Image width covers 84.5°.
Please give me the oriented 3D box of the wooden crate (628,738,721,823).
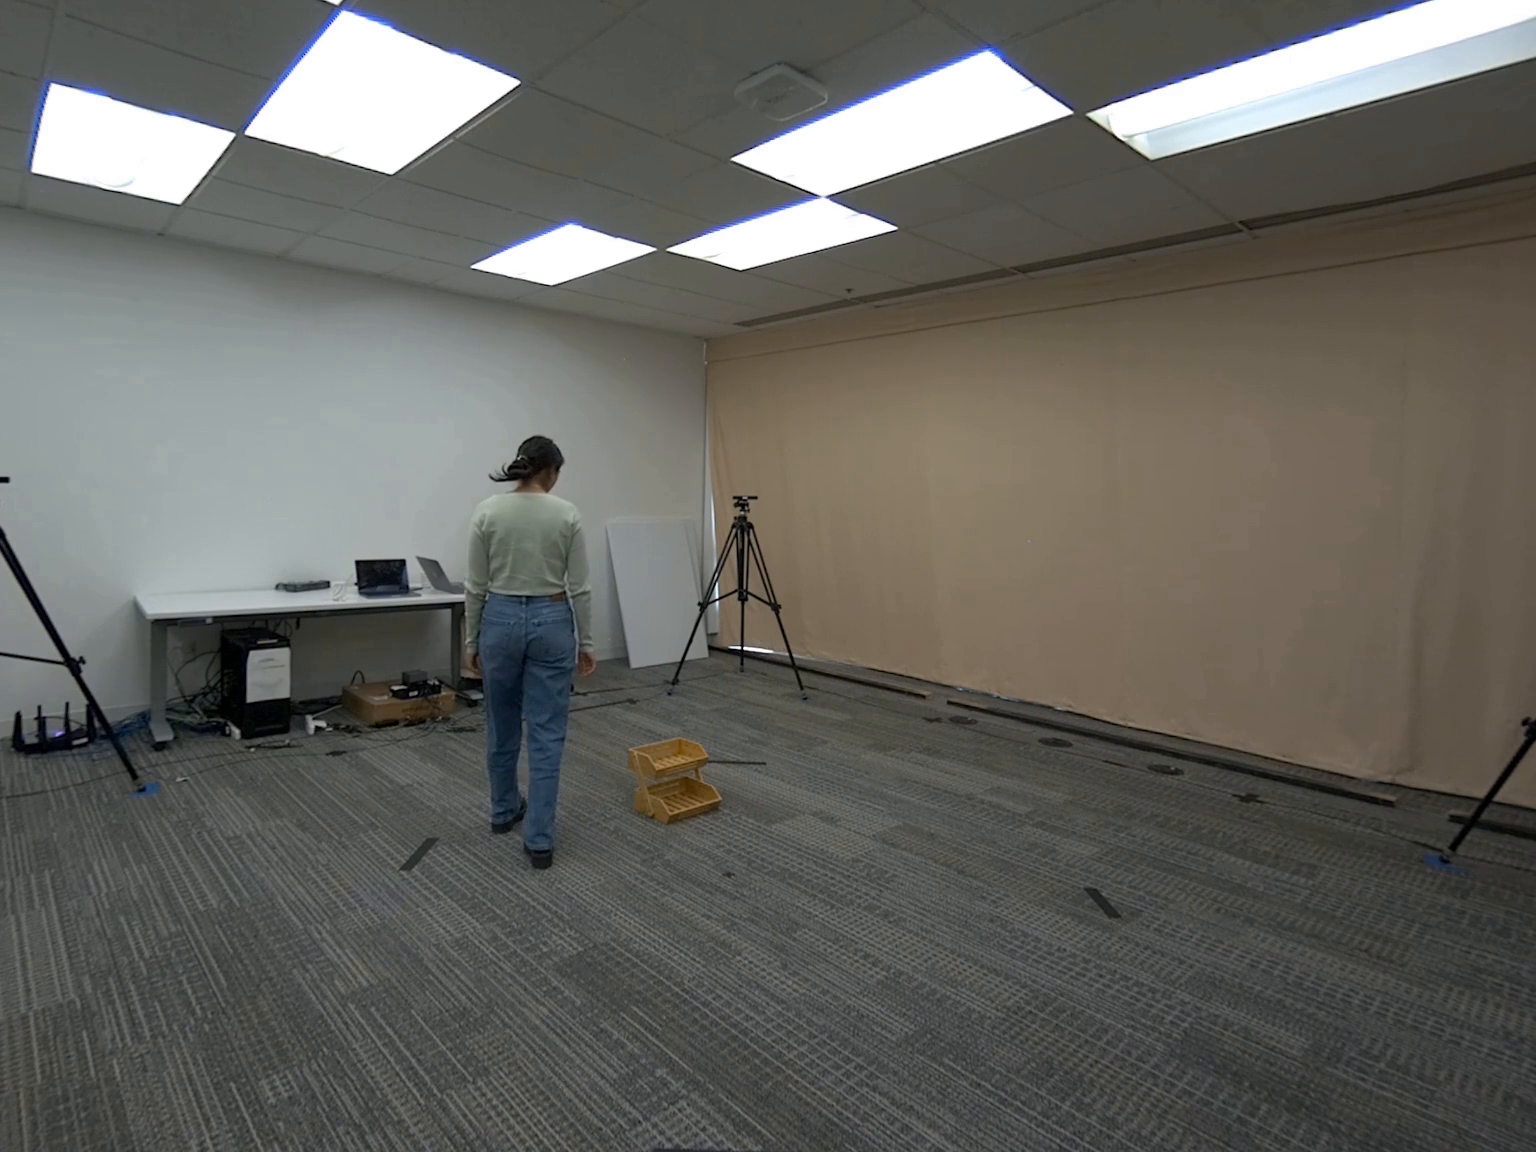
[{"bbox_3d":[-0.425,0.902,3.762,0.310,0.273,0.317,5,5,45],"label":"wooden crate"}]
